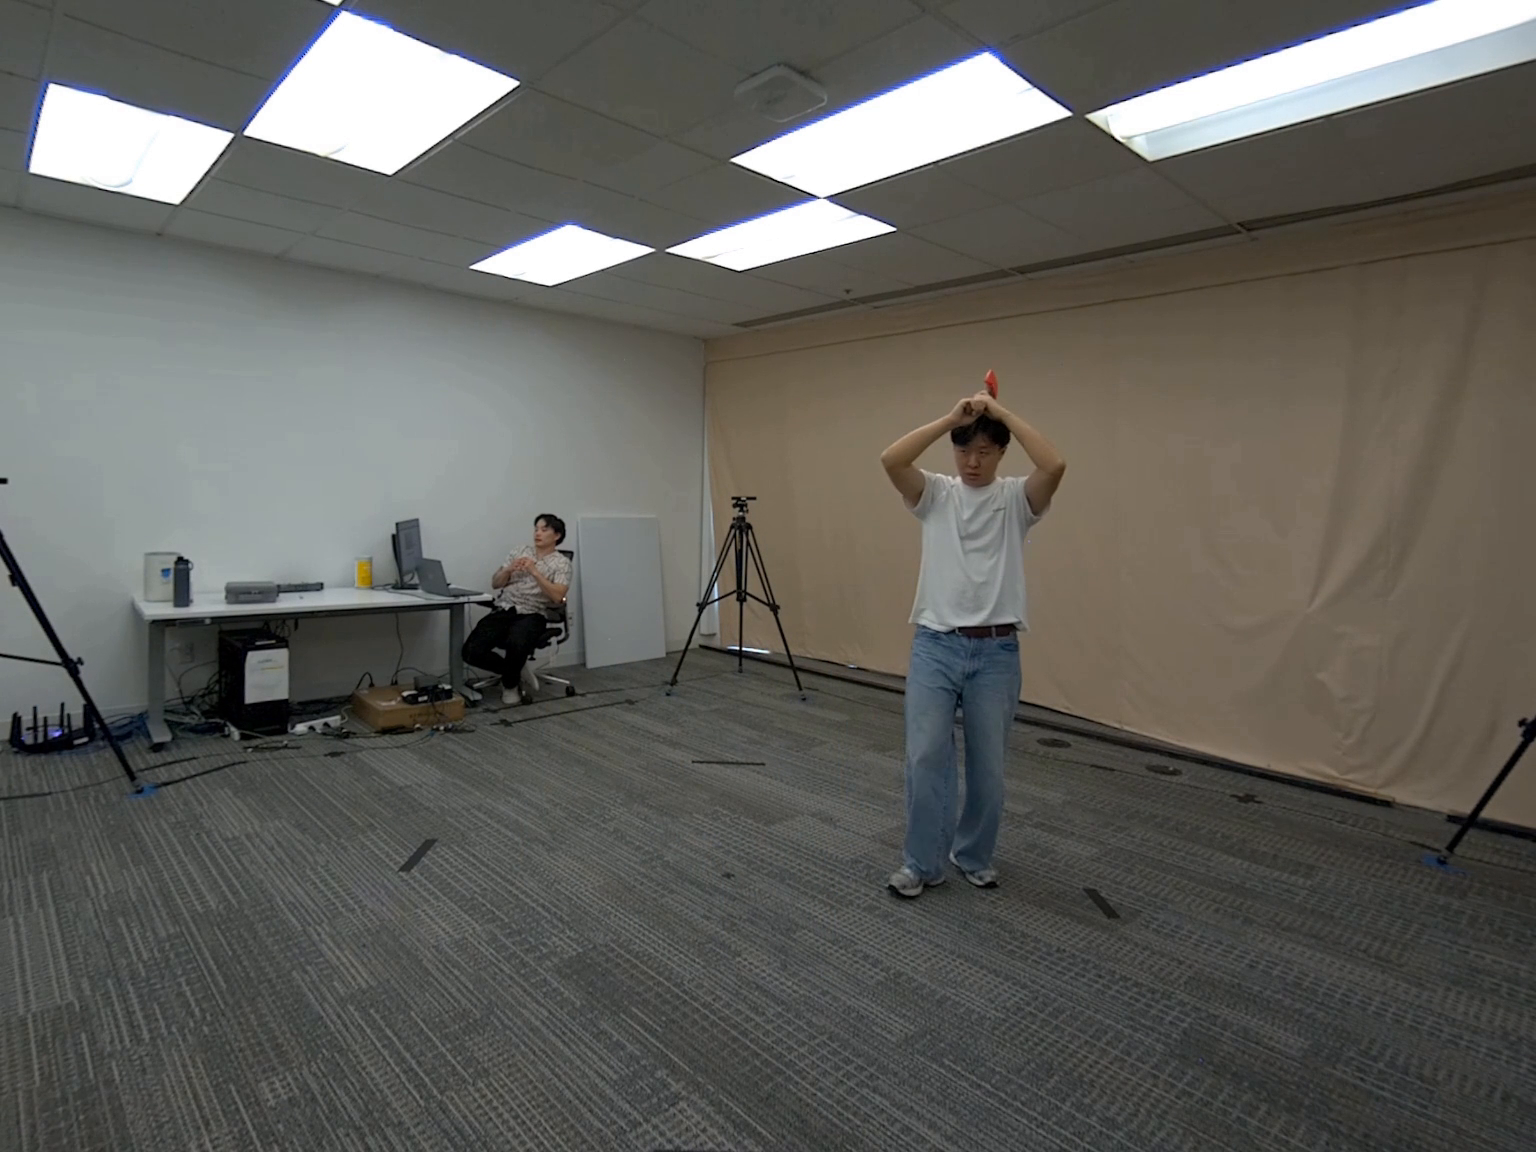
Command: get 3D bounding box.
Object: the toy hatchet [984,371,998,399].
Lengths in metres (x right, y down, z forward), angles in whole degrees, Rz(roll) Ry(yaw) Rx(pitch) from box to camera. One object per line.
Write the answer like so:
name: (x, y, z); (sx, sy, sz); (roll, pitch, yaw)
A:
toy hatchet: (0.749, -0.646, 2.943); (0.030, 0.129, 0.267); (8, 20, 28)
